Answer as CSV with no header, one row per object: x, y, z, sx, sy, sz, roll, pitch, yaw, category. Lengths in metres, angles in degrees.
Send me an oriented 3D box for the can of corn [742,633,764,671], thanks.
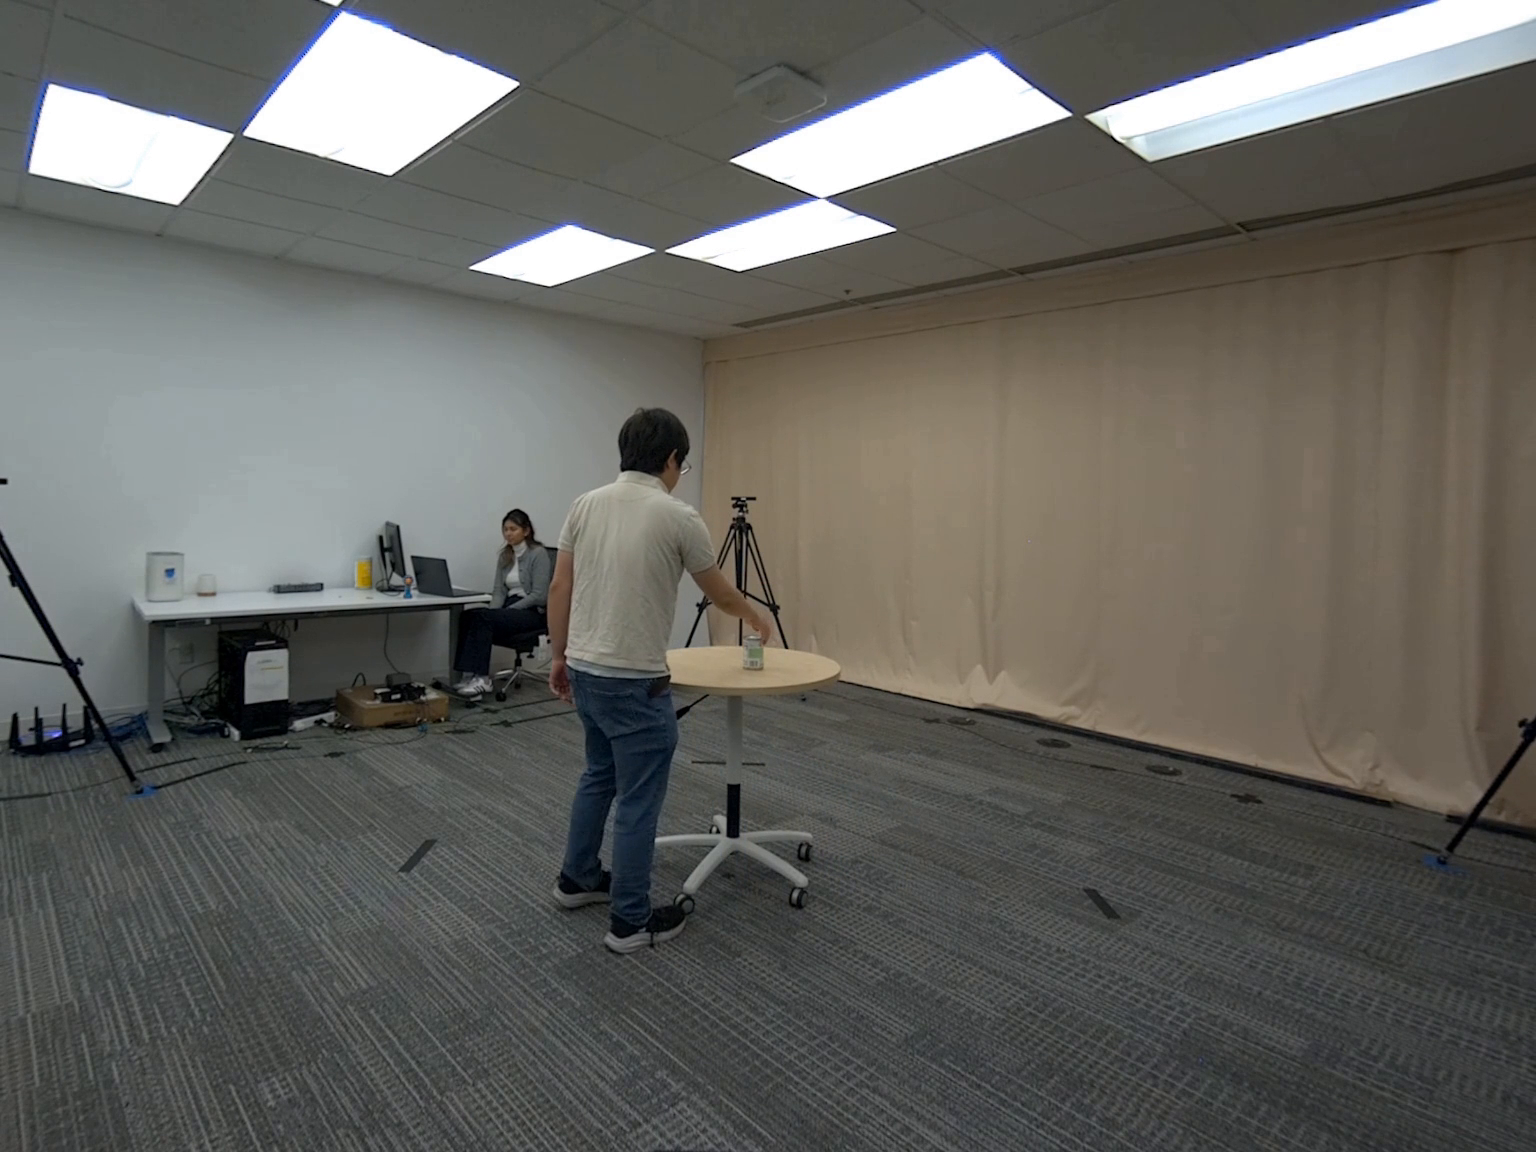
-0.061,0.280,3.013,0.074,0.110,0.075,2,9,-2,can of corn
